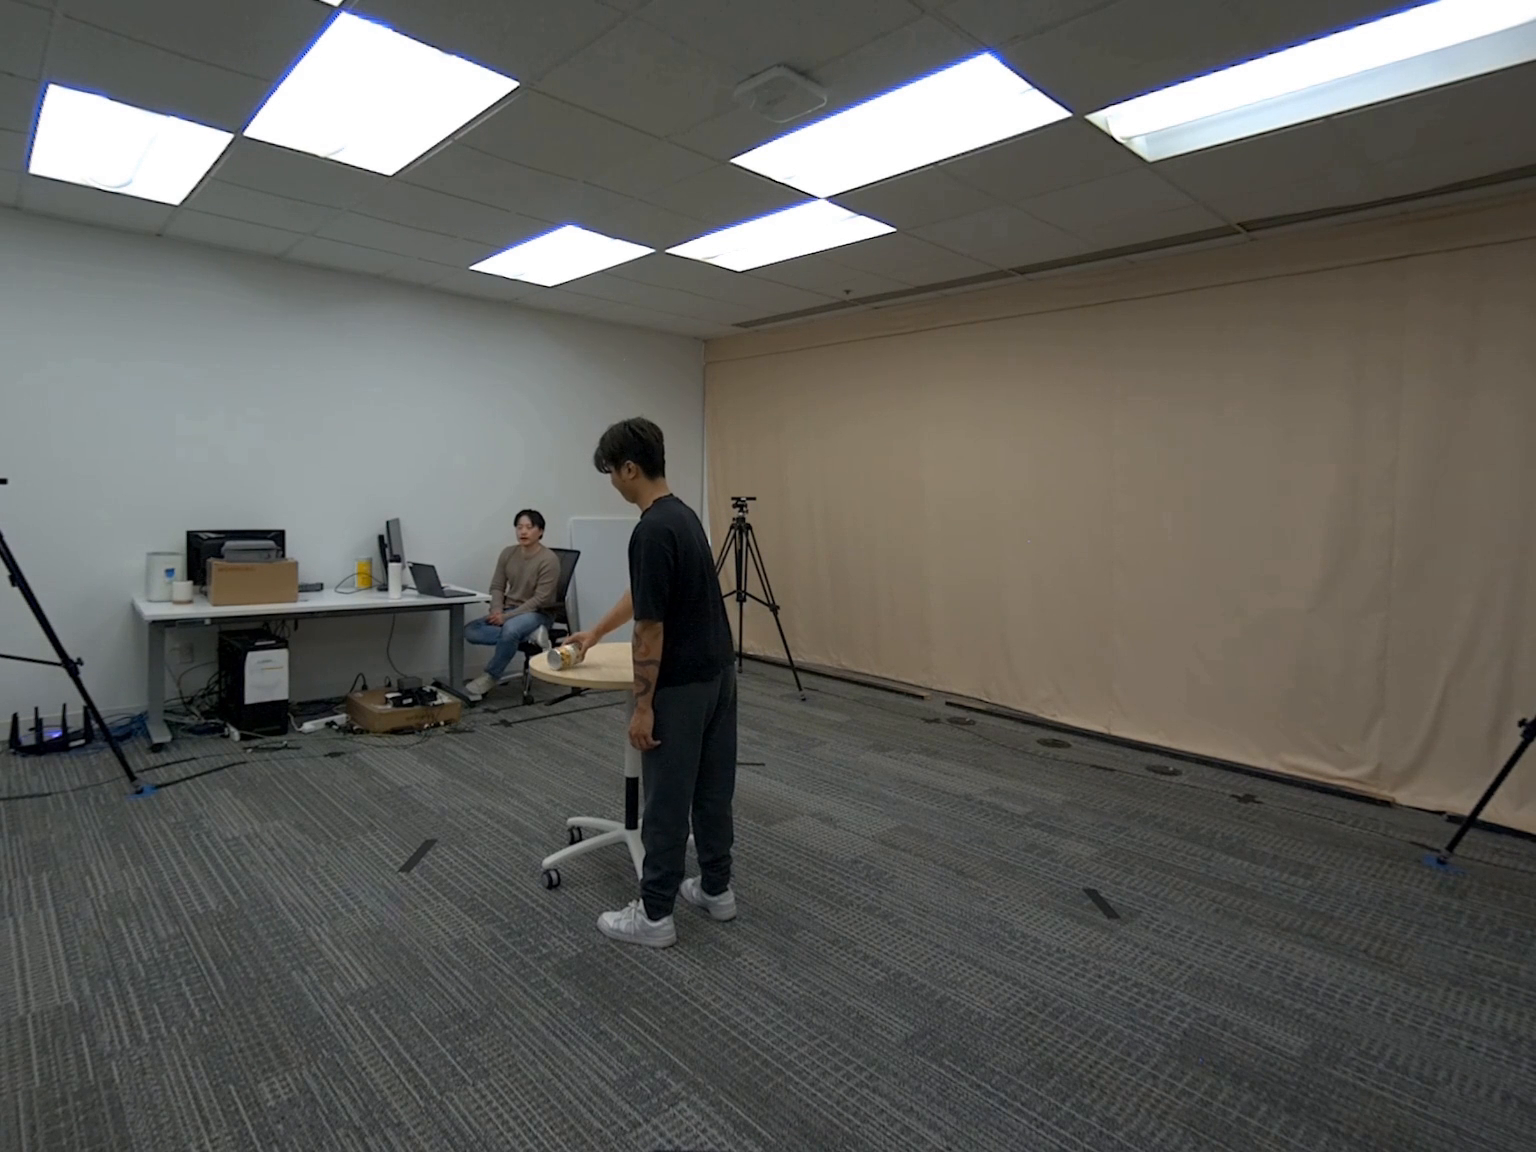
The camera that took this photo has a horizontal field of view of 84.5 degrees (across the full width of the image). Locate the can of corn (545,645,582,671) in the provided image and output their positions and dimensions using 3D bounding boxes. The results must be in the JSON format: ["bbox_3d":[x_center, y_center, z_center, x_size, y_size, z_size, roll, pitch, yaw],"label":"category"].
[{"bbox_3d":[-0.725,0.280,2.959,0.076,0.074,0.109,4,12,34],"label":"can of corn"}]
